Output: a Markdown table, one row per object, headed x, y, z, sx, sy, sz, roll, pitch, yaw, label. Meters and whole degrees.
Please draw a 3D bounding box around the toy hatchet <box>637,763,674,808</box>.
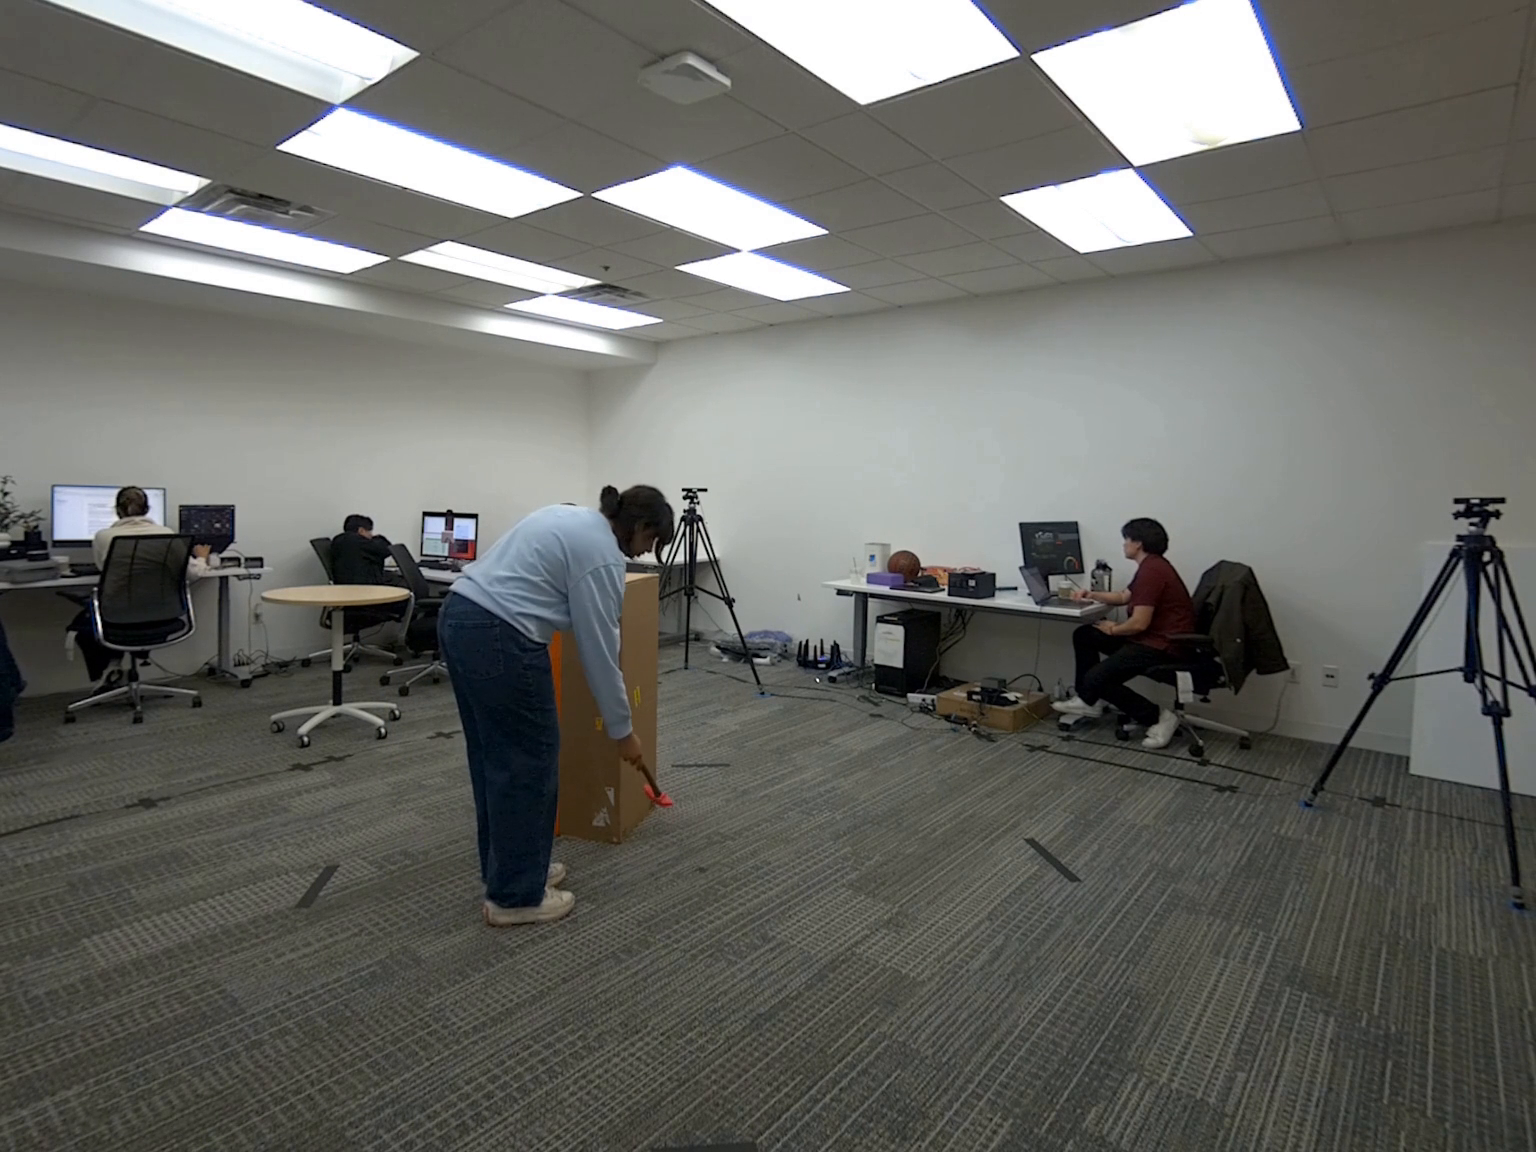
| x | y | z | sx | sy | sz | roll | pitch | yaw | label |
| --- | --- | --- | --- | --- | --- | --- | --- | --- | --- |
| -0.431 | 0.673 | 2.884 | 0.132 | 0.269 | 0.029 | -32 | 3 | 38 | toy hatchet |
